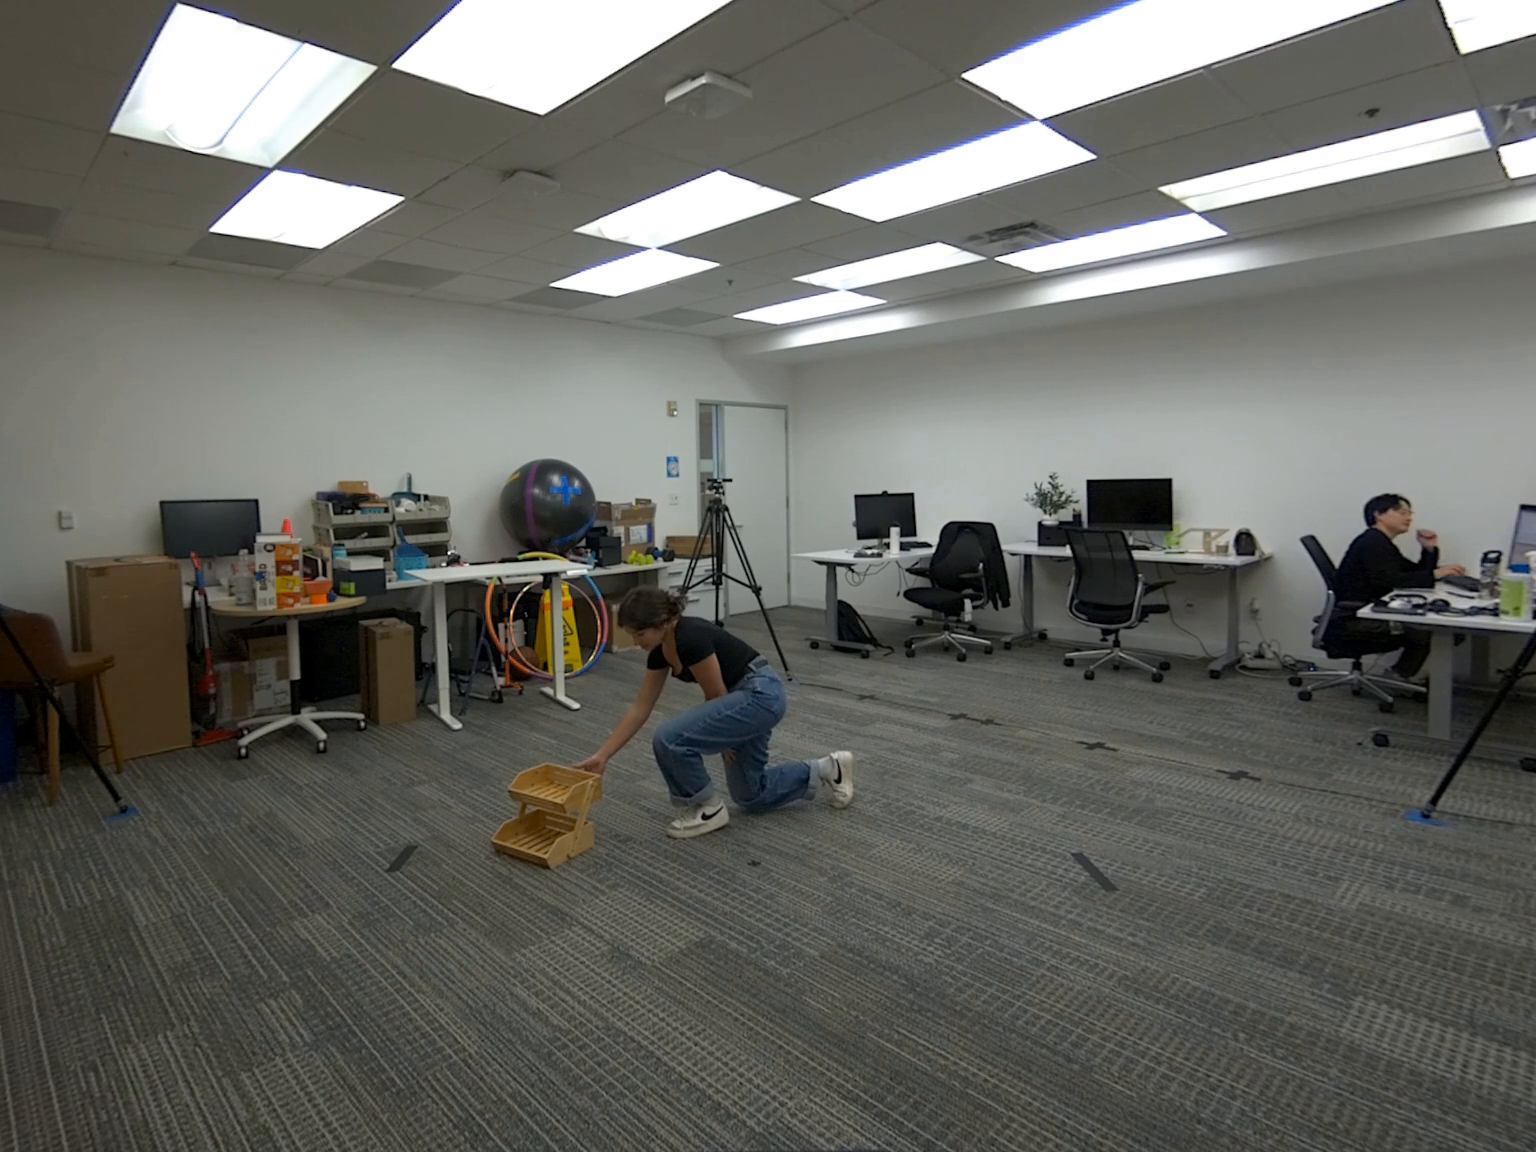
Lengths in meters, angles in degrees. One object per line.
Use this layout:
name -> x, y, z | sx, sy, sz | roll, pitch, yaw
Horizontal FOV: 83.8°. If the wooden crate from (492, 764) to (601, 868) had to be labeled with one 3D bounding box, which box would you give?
wooden crate -> -0.847, 0.907, 3.275 | 0.333, 0.272, 0.295 | 2, 6, 33
